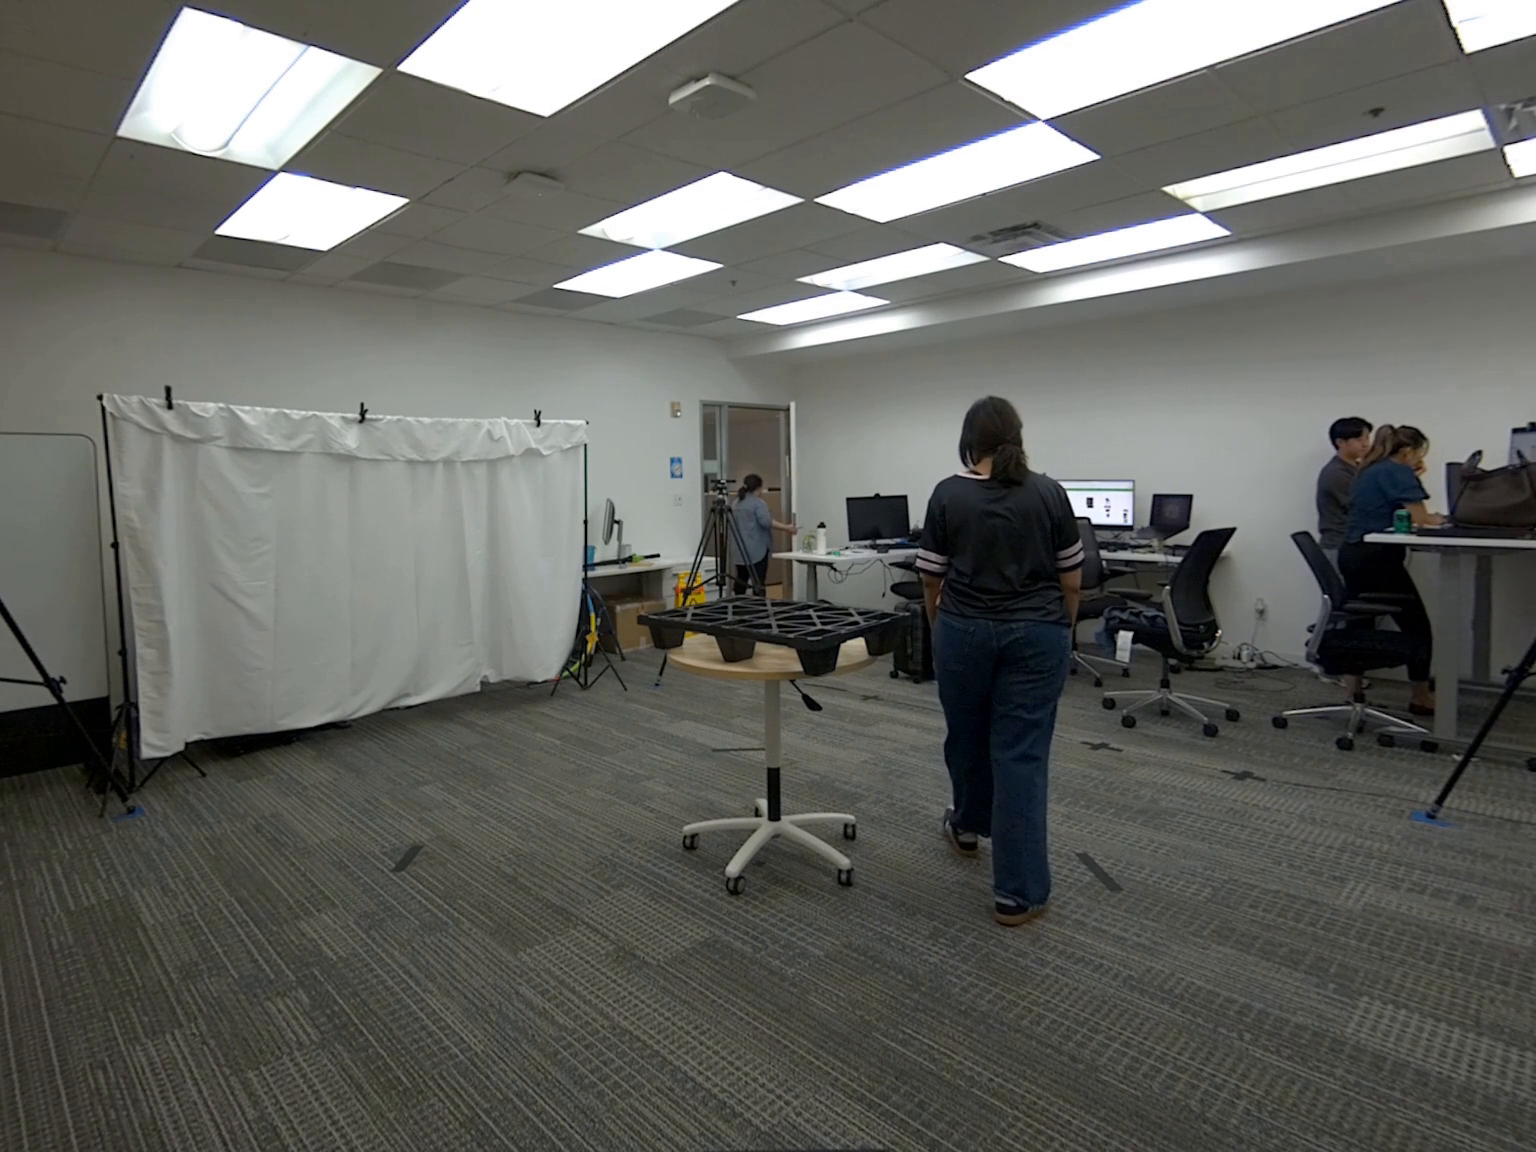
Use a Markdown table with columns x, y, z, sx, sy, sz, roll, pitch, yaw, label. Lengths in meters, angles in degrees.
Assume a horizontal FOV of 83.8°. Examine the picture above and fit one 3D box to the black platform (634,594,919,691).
| x | y | z | sx | sy | sz | roll | pitch | yaw | label |
| --- | --- | --- | --- | --- | --- | --- | --- | --- | --- |
| 0.022 | 0.207 | 3.050 | 0.830 | 0.142 | 0.590 | 5 | 10 | 41 | black platform |
